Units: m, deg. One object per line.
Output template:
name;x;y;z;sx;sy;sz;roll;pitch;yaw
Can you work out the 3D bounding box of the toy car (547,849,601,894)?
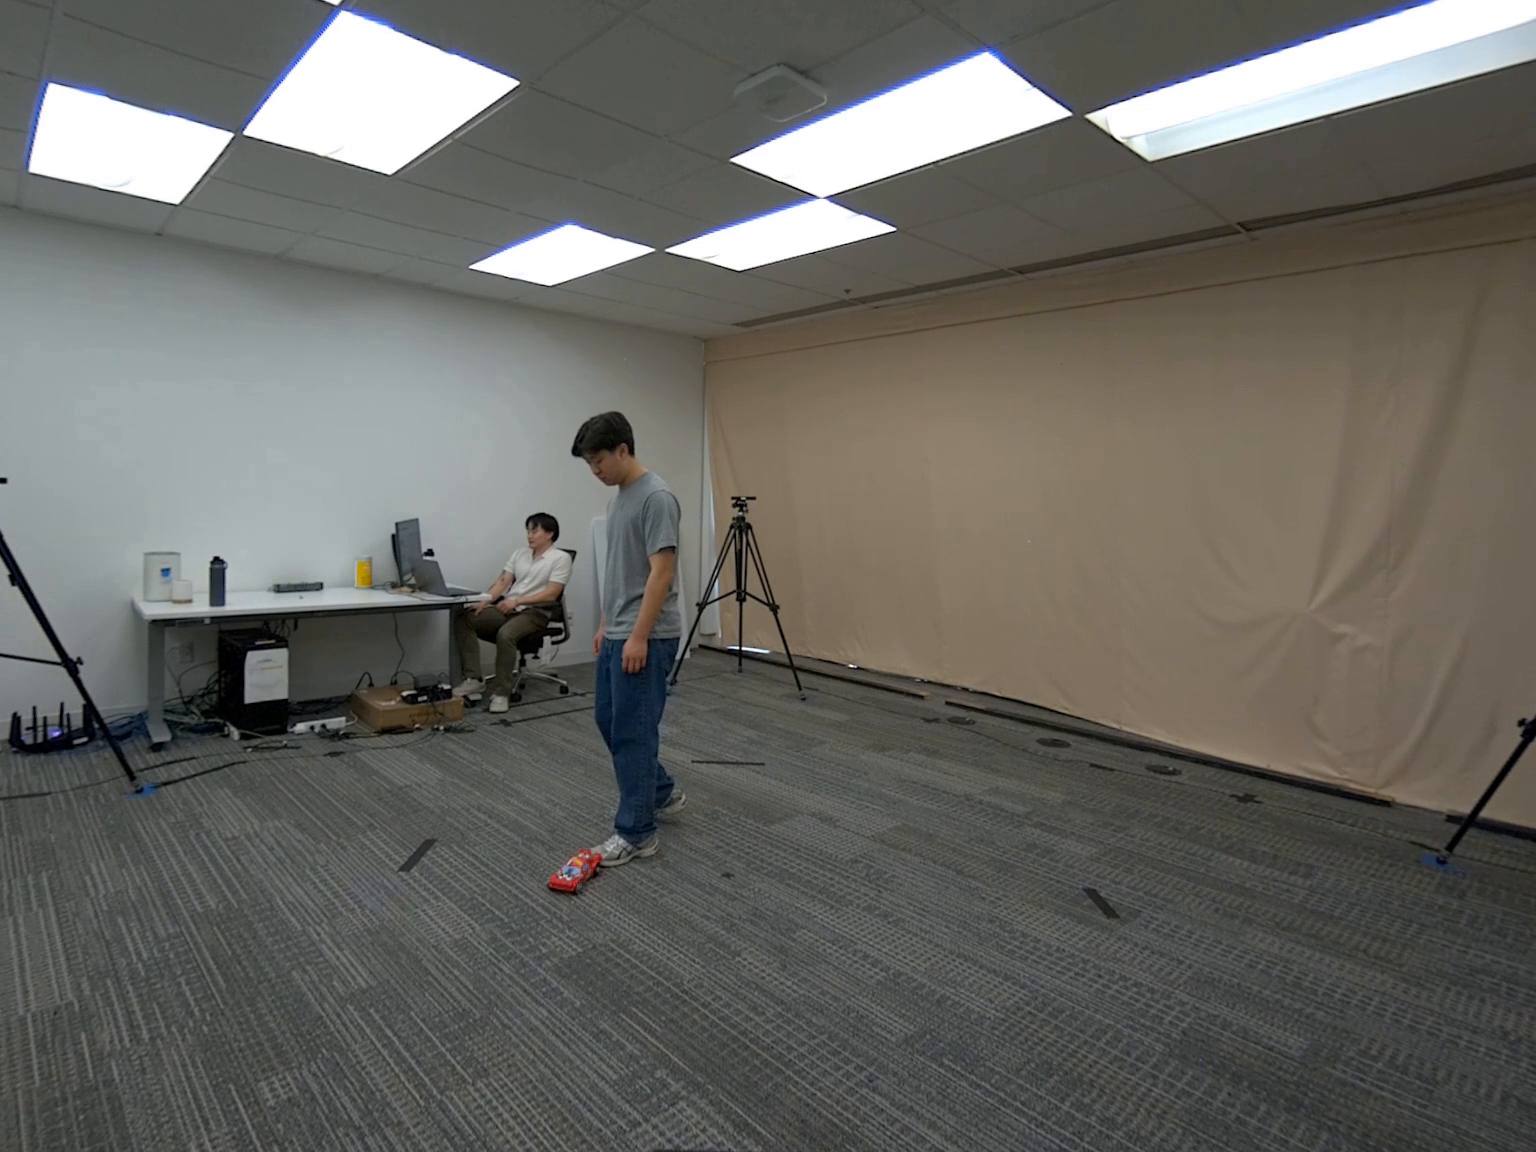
toy car;-0.701;1.066;3.035;0.132;0.082;0.254;1;16;16
